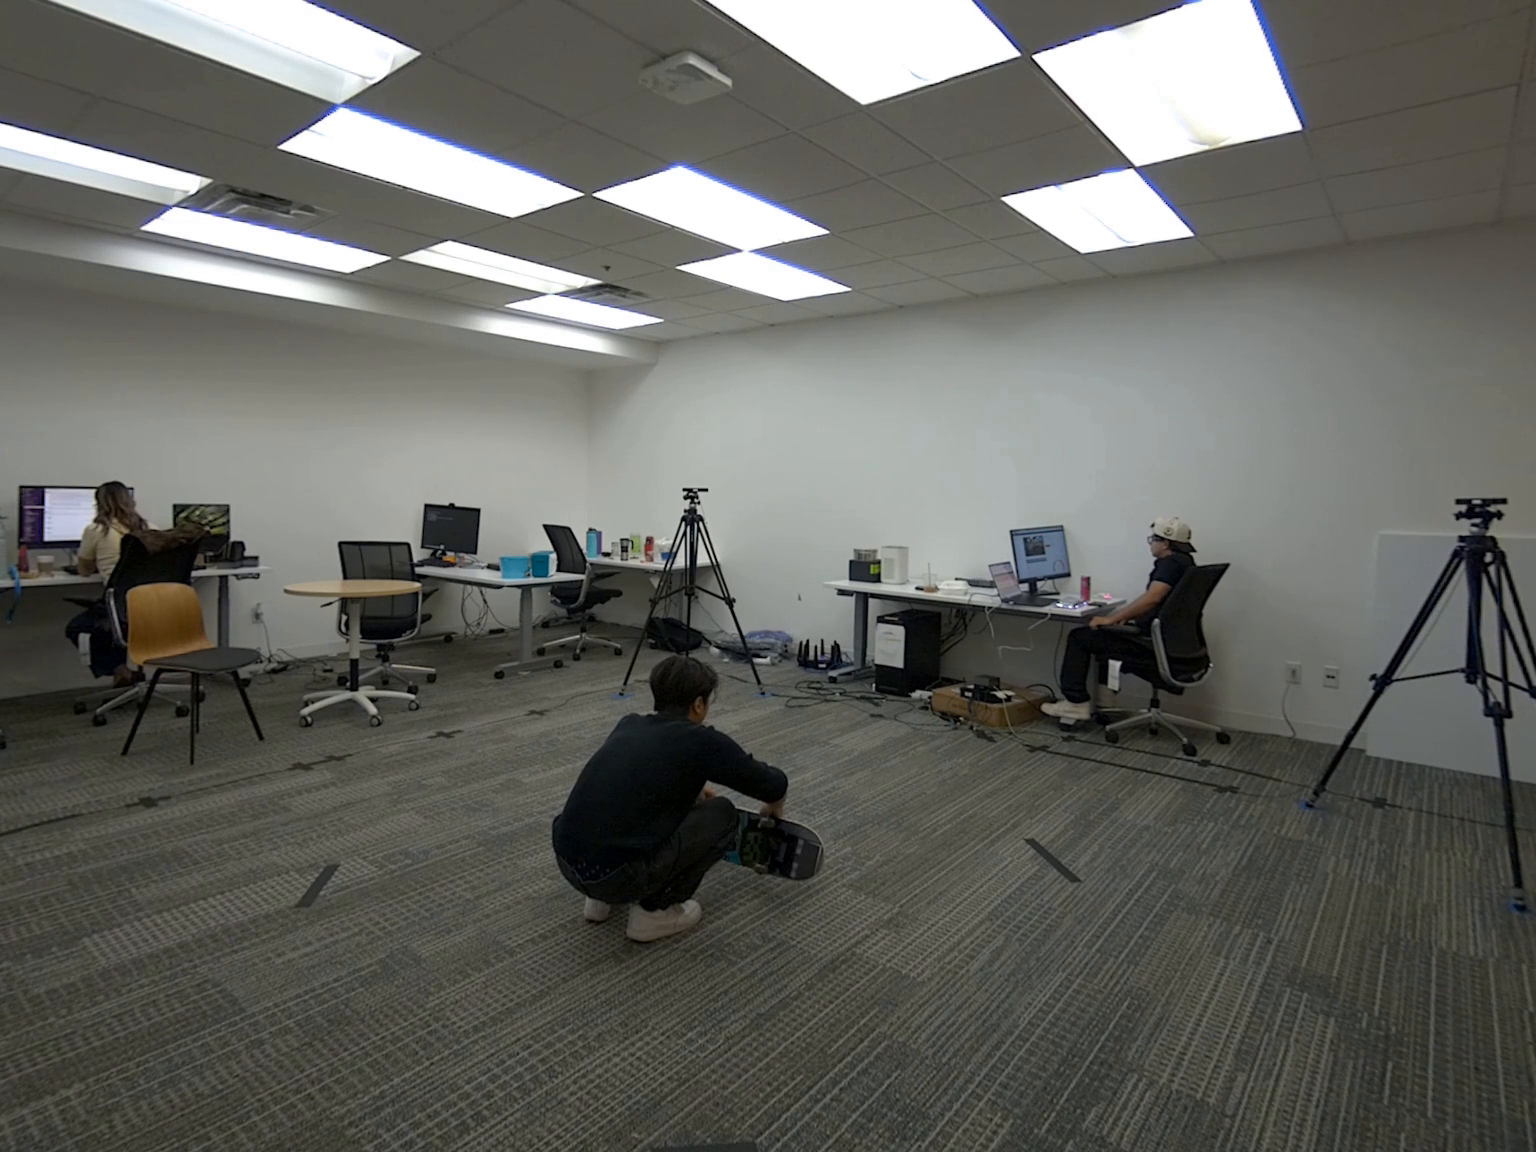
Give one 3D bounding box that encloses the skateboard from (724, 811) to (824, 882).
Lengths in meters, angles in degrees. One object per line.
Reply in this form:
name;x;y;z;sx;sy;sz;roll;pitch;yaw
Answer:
skateboard;-0.159;0.937;3.108;0.810;0.195;0.106;2;-12;37
